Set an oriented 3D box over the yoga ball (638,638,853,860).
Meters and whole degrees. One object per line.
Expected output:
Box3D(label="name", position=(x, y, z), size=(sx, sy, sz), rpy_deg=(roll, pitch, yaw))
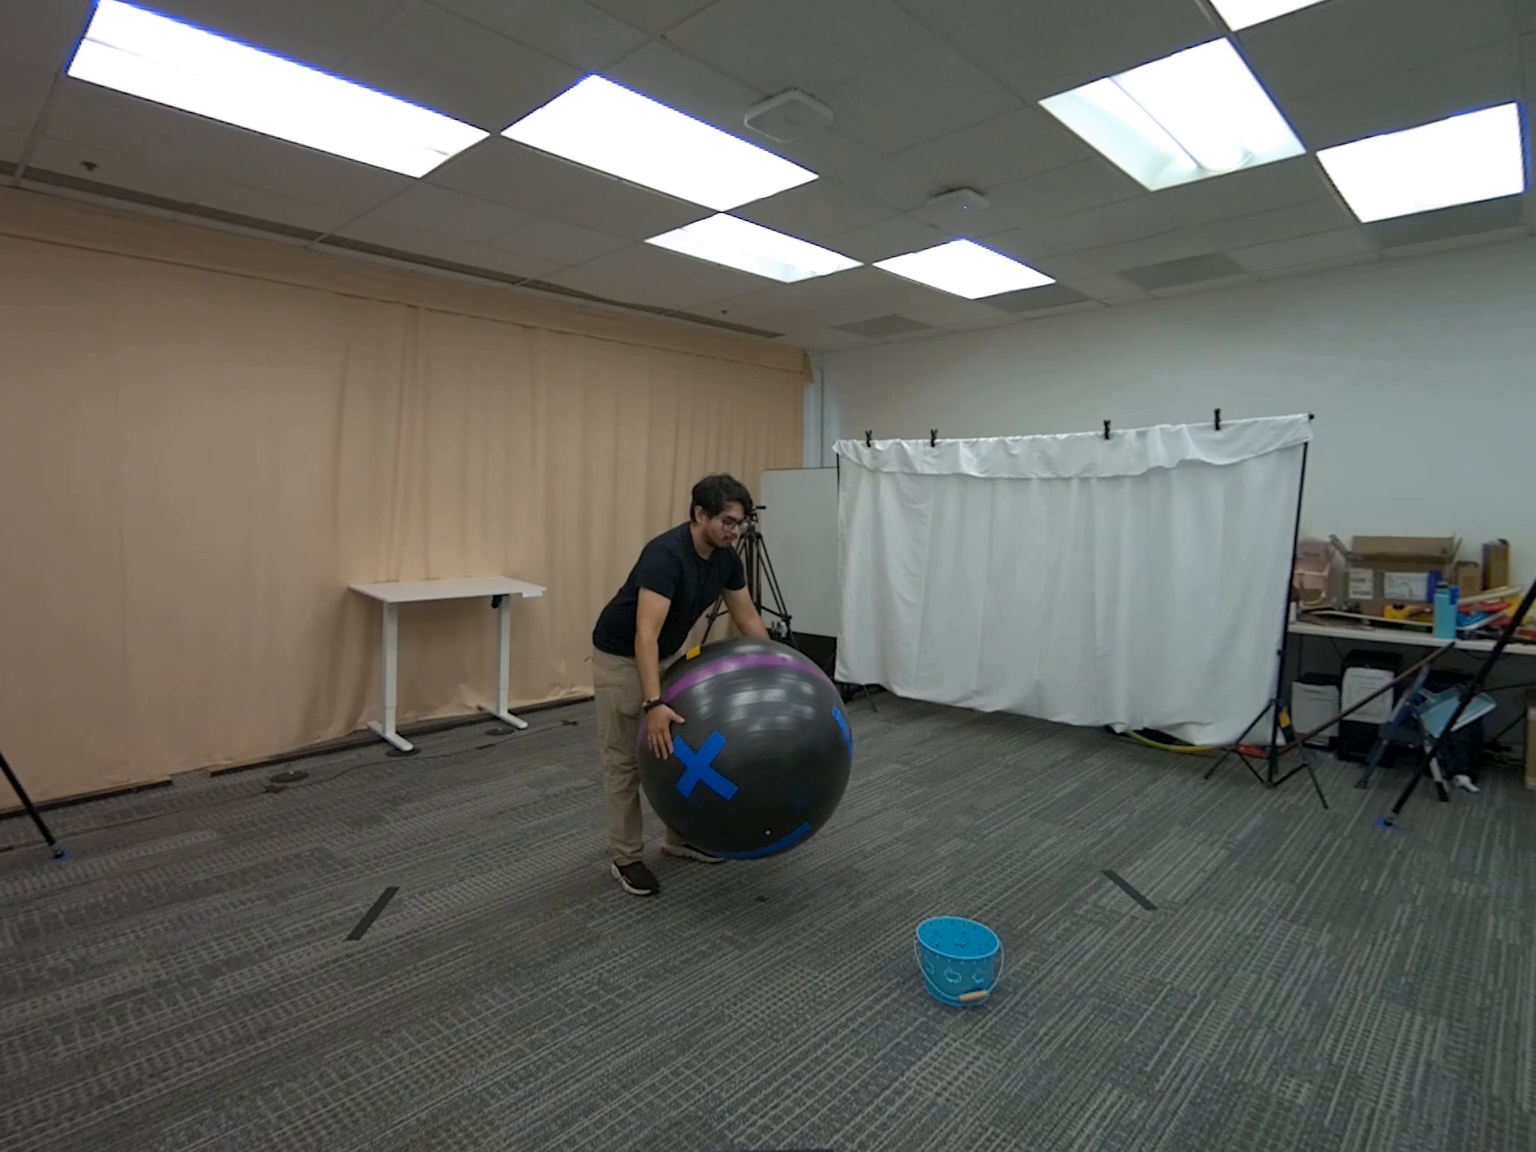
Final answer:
Box3D(label="yoga ball", position=(-0.080, 0.597, 2.950), size=(0.757, 0.756, 0.760), rpy_deg=(0, 4, -2))
